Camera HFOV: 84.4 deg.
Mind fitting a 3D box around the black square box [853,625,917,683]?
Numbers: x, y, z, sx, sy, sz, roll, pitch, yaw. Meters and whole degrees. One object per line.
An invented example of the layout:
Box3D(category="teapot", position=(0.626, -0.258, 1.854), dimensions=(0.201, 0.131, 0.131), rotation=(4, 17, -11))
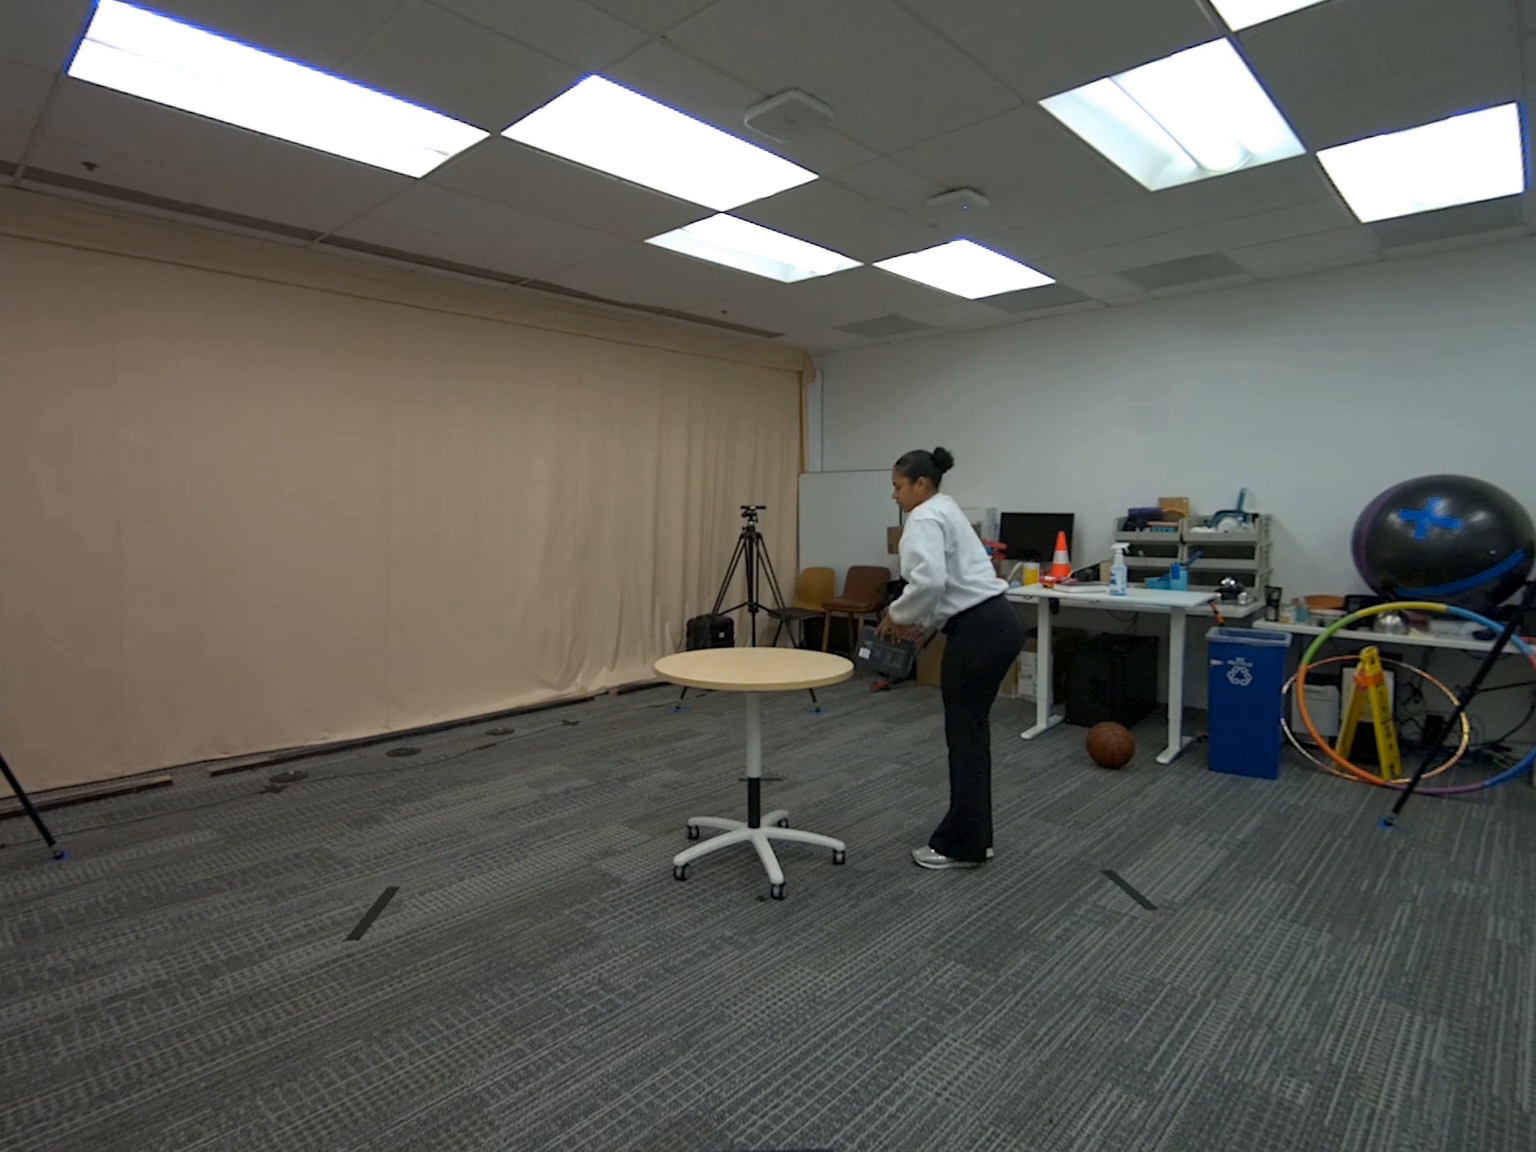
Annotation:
Box3D(category="black square box", position=(0.489, 0.322, 3.521), dimensions=(0.220, 0.156, 0.225), rotation=(14, 2, 9))
